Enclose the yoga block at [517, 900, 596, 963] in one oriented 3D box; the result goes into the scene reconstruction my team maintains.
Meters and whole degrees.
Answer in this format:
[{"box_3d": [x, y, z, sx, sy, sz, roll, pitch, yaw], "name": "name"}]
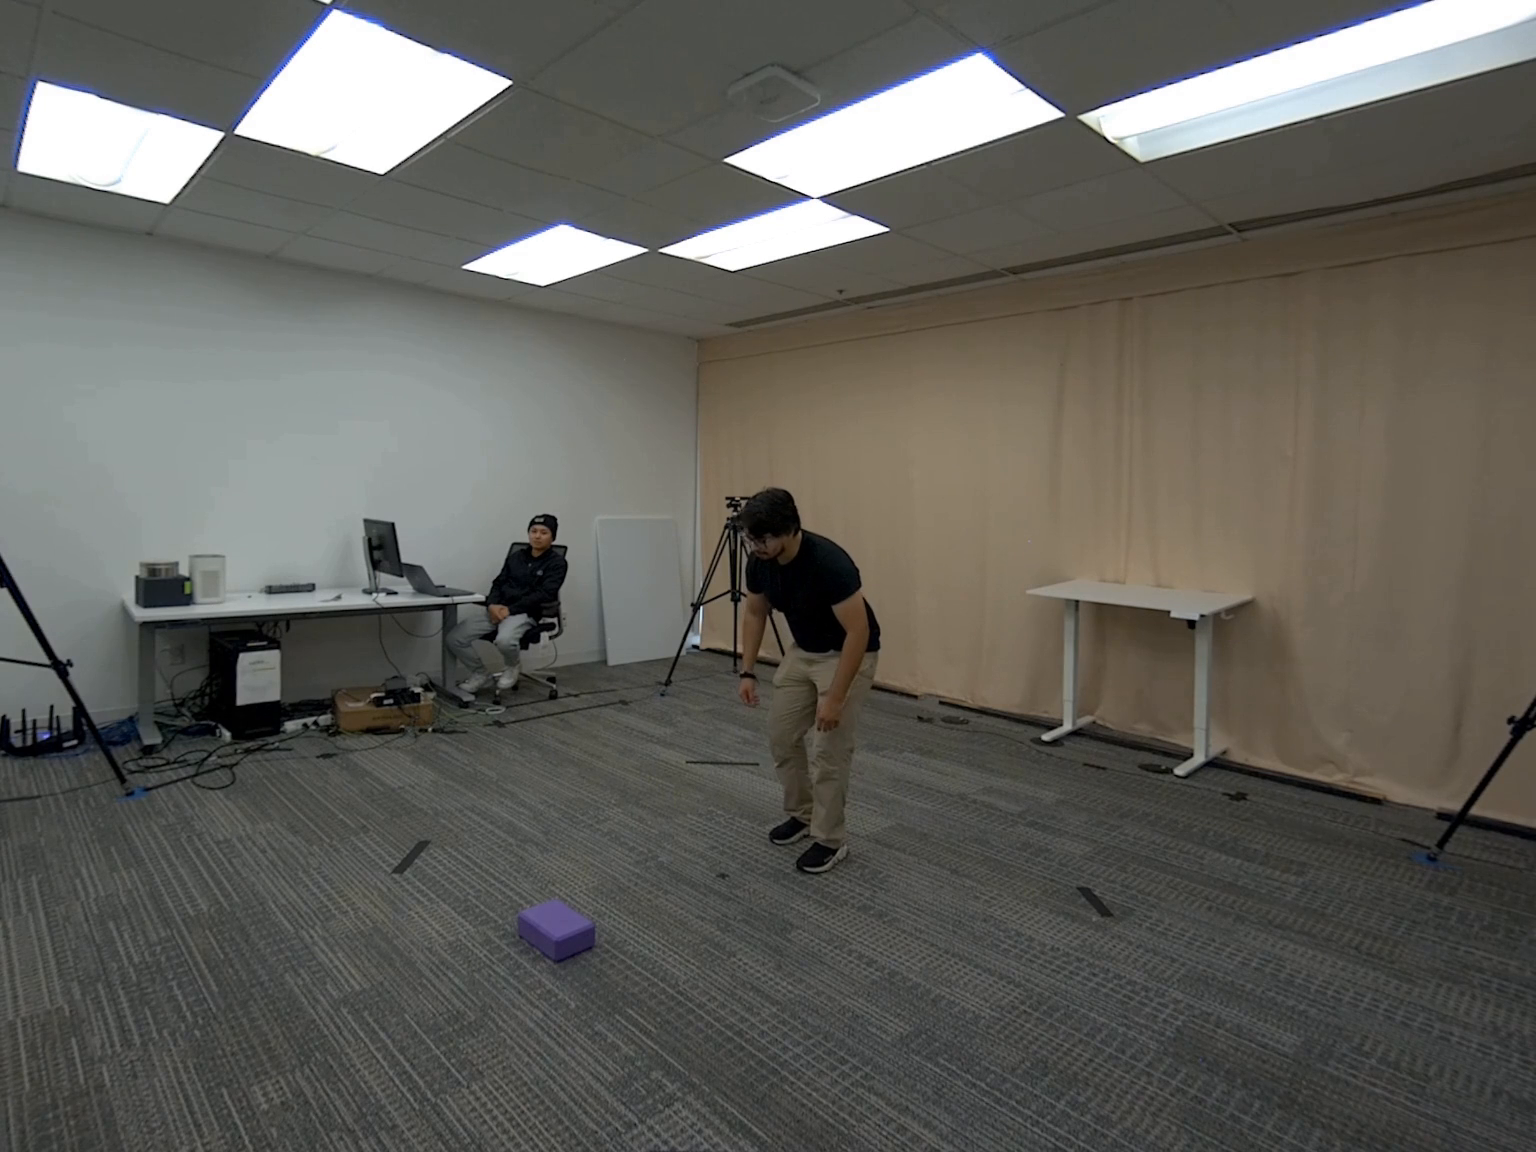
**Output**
[{"box_3d": [-0.666, 1.102, 2.619, 0.235, 0.076, 0.145, 6, 7, 45], "name": "yoga block"}]
